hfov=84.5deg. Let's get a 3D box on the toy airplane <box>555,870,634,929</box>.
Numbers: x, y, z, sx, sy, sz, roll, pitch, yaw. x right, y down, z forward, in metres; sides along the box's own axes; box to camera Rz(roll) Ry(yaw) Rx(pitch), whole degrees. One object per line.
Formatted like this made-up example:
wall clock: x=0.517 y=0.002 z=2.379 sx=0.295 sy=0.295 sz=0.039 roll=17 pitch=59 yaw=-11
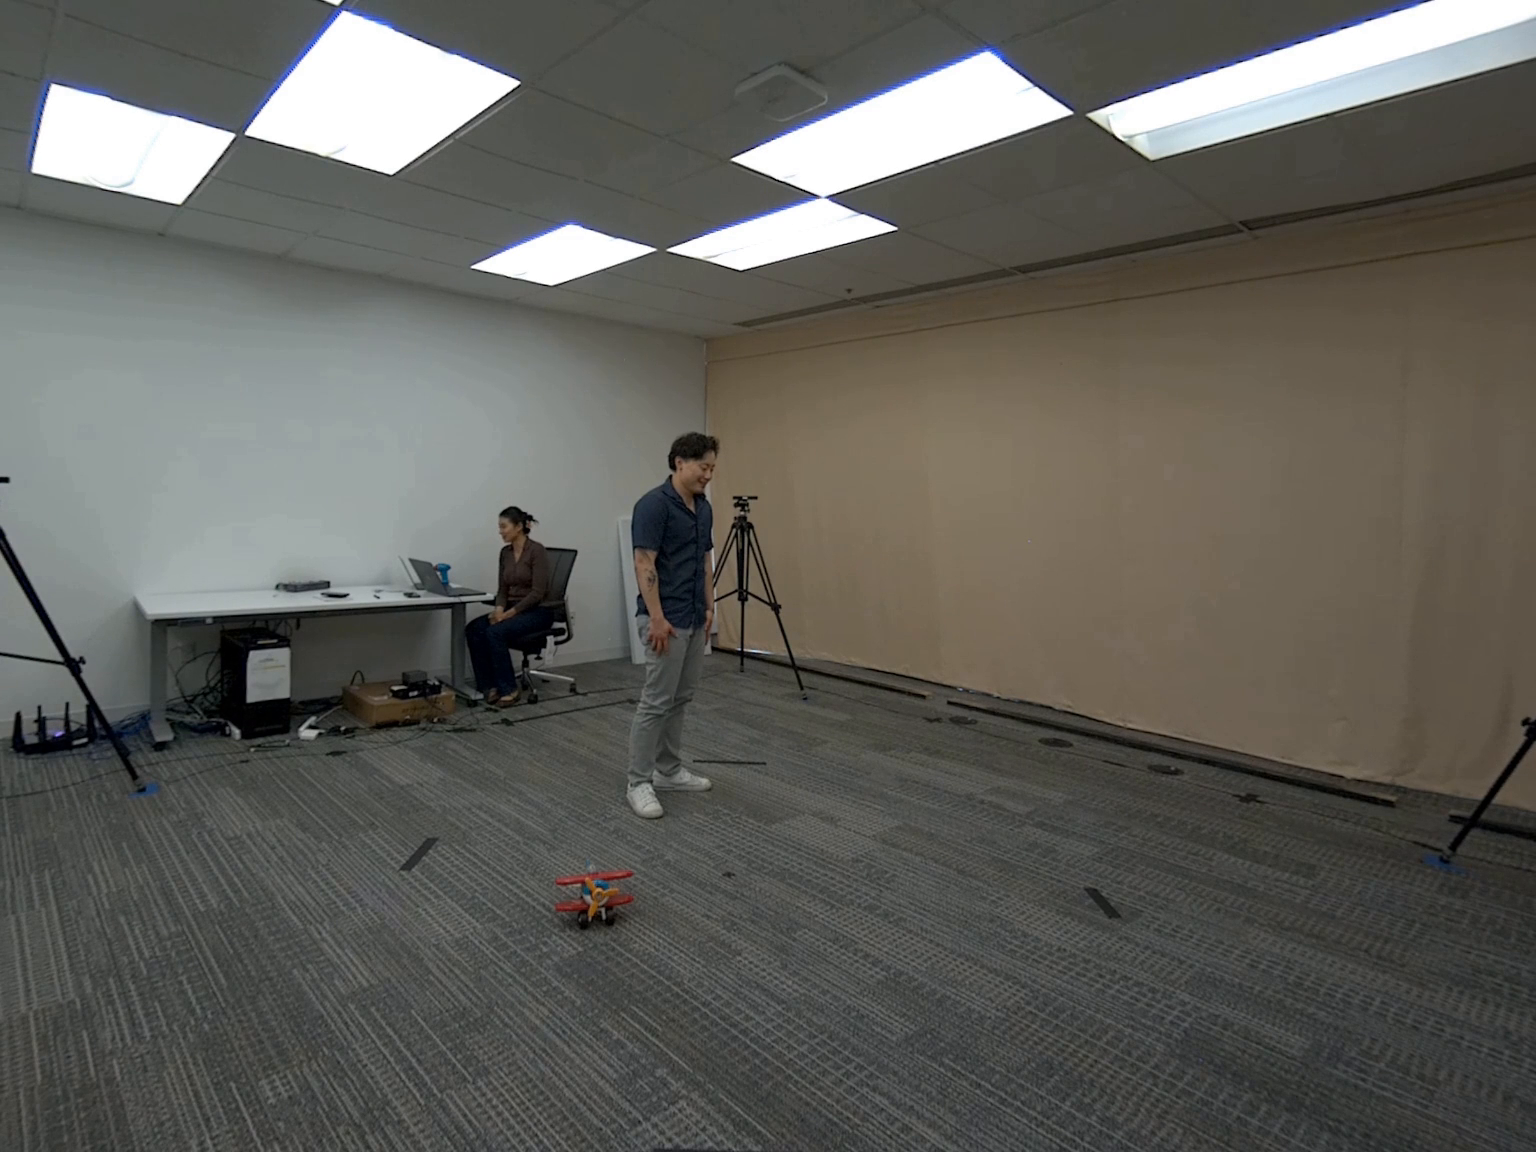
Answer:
toy airplane: x=-0.607 y=1.049 z=2.784 sx=0.266 sy=0.156 sz=0.245 roll=8 pitch=8 yaw=43
